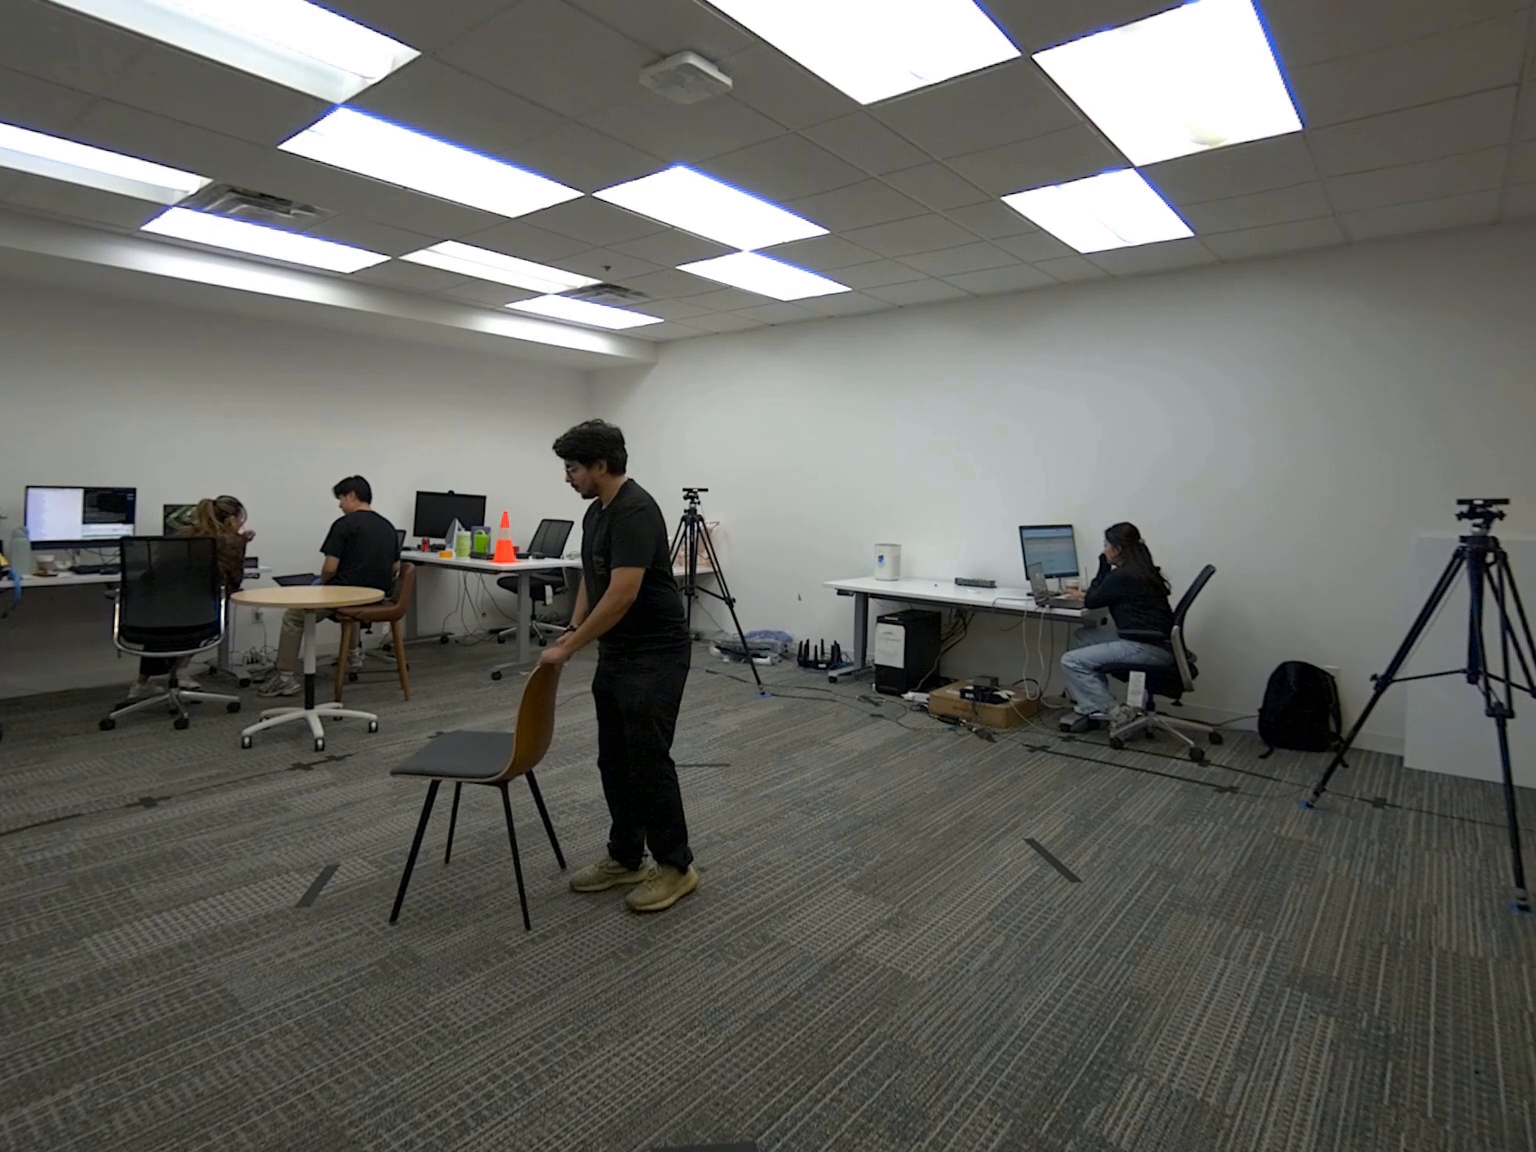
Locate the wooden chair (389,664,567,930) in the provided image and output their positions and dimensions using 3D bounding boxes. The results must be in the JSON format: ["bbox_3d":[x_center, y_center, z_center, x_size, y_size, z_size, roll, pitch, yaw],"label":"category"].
[{"bbox_3d":[-0.977,0.653,2.864,0.525,0.875,0.478,5,4,2],"label":"wooden chair"}]
